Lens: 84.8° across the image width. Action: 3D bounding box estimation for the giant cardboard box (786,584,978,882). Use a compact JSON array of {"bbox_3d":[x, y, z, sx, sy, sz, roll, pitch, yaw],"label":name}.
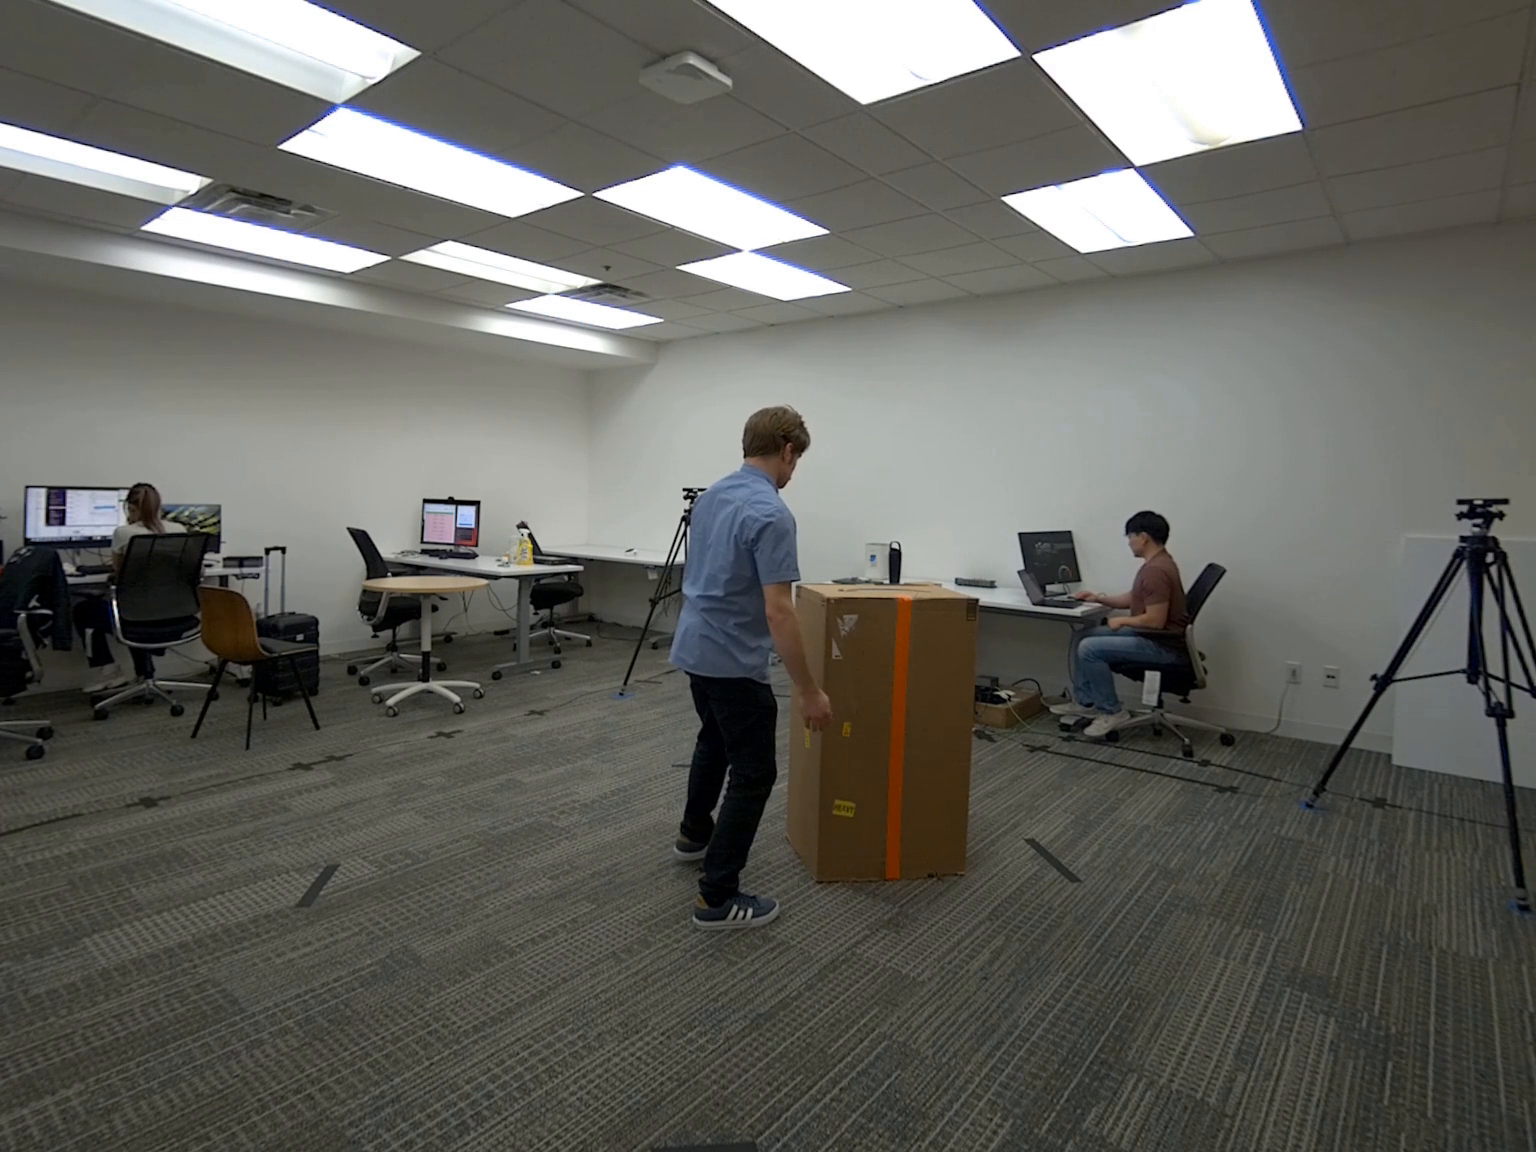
[{"bbox_3d":[0.411,0.561,3.244,0.571,1.023,0.432,2,3,-10],"label":"giant cardboard box"}]
